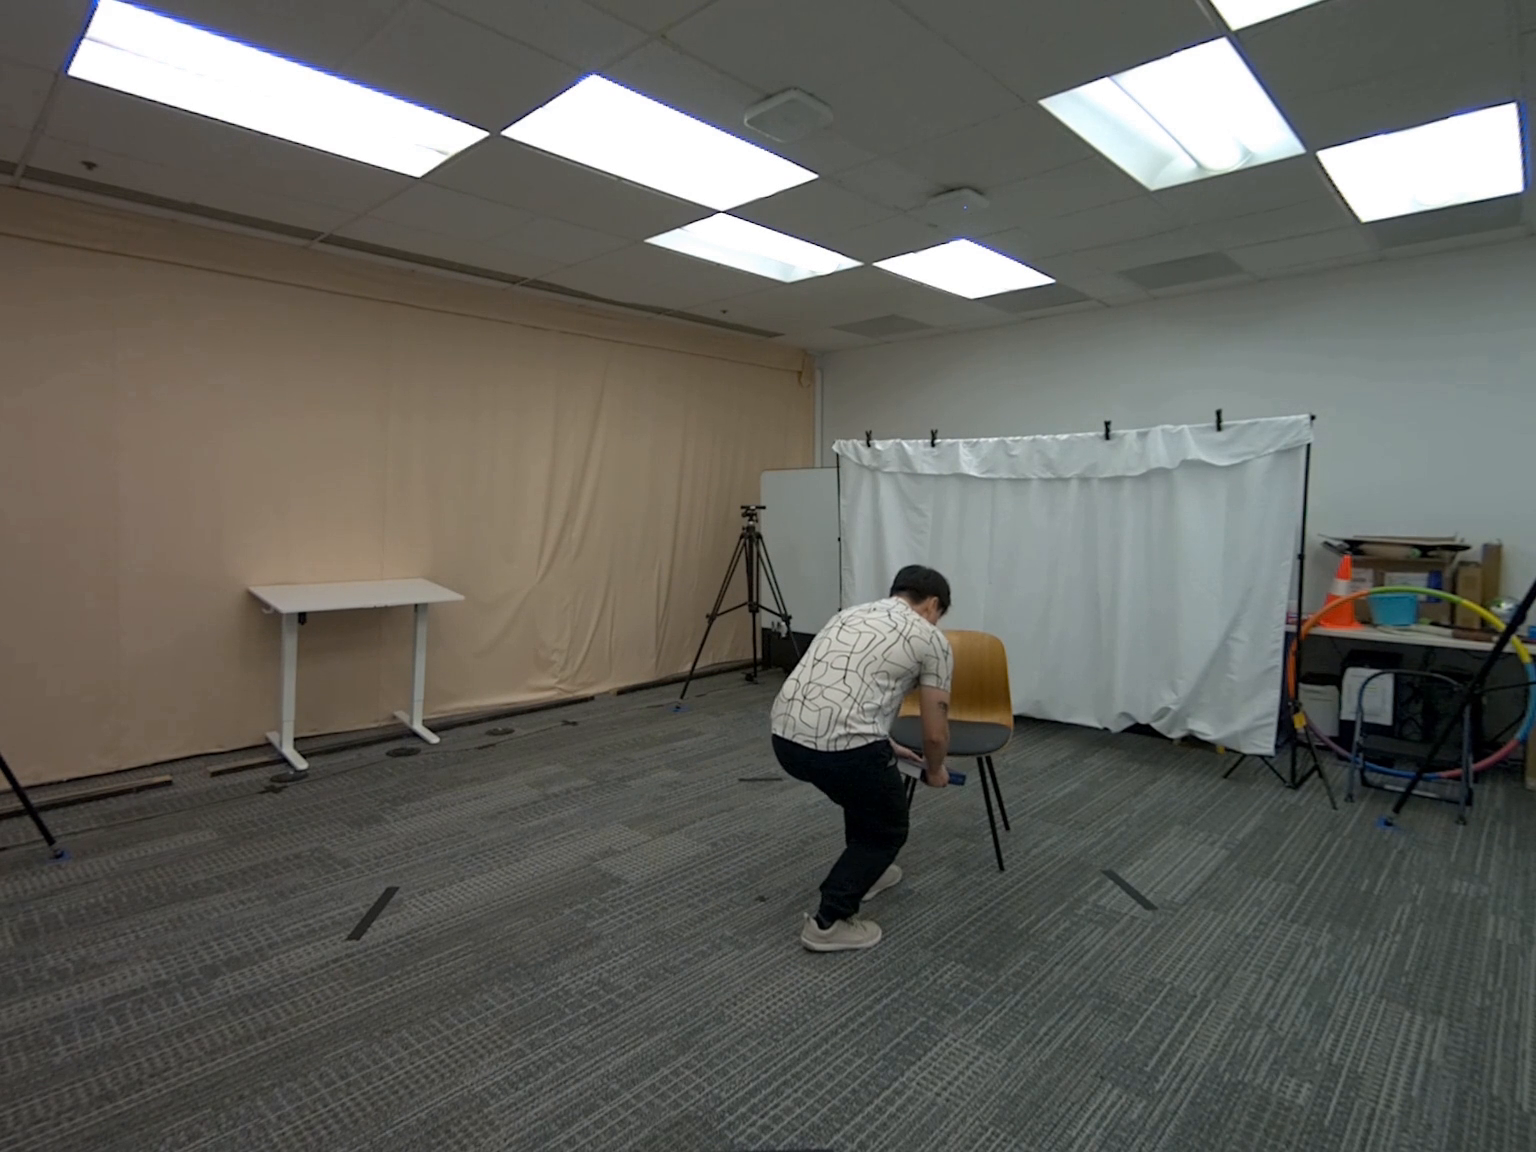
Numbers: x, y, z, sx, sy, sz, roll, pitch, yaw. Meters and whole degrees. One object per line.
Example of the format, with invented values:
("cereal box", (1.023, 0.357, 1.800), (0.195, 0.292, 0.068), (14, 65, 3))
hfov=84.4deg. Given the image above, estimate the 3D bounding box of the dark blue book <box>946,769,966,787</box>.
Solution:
("dark blue book", (0.582, 0.709, 3.042), (0.237, 0.045, 0.169), (13, -1, -36))
